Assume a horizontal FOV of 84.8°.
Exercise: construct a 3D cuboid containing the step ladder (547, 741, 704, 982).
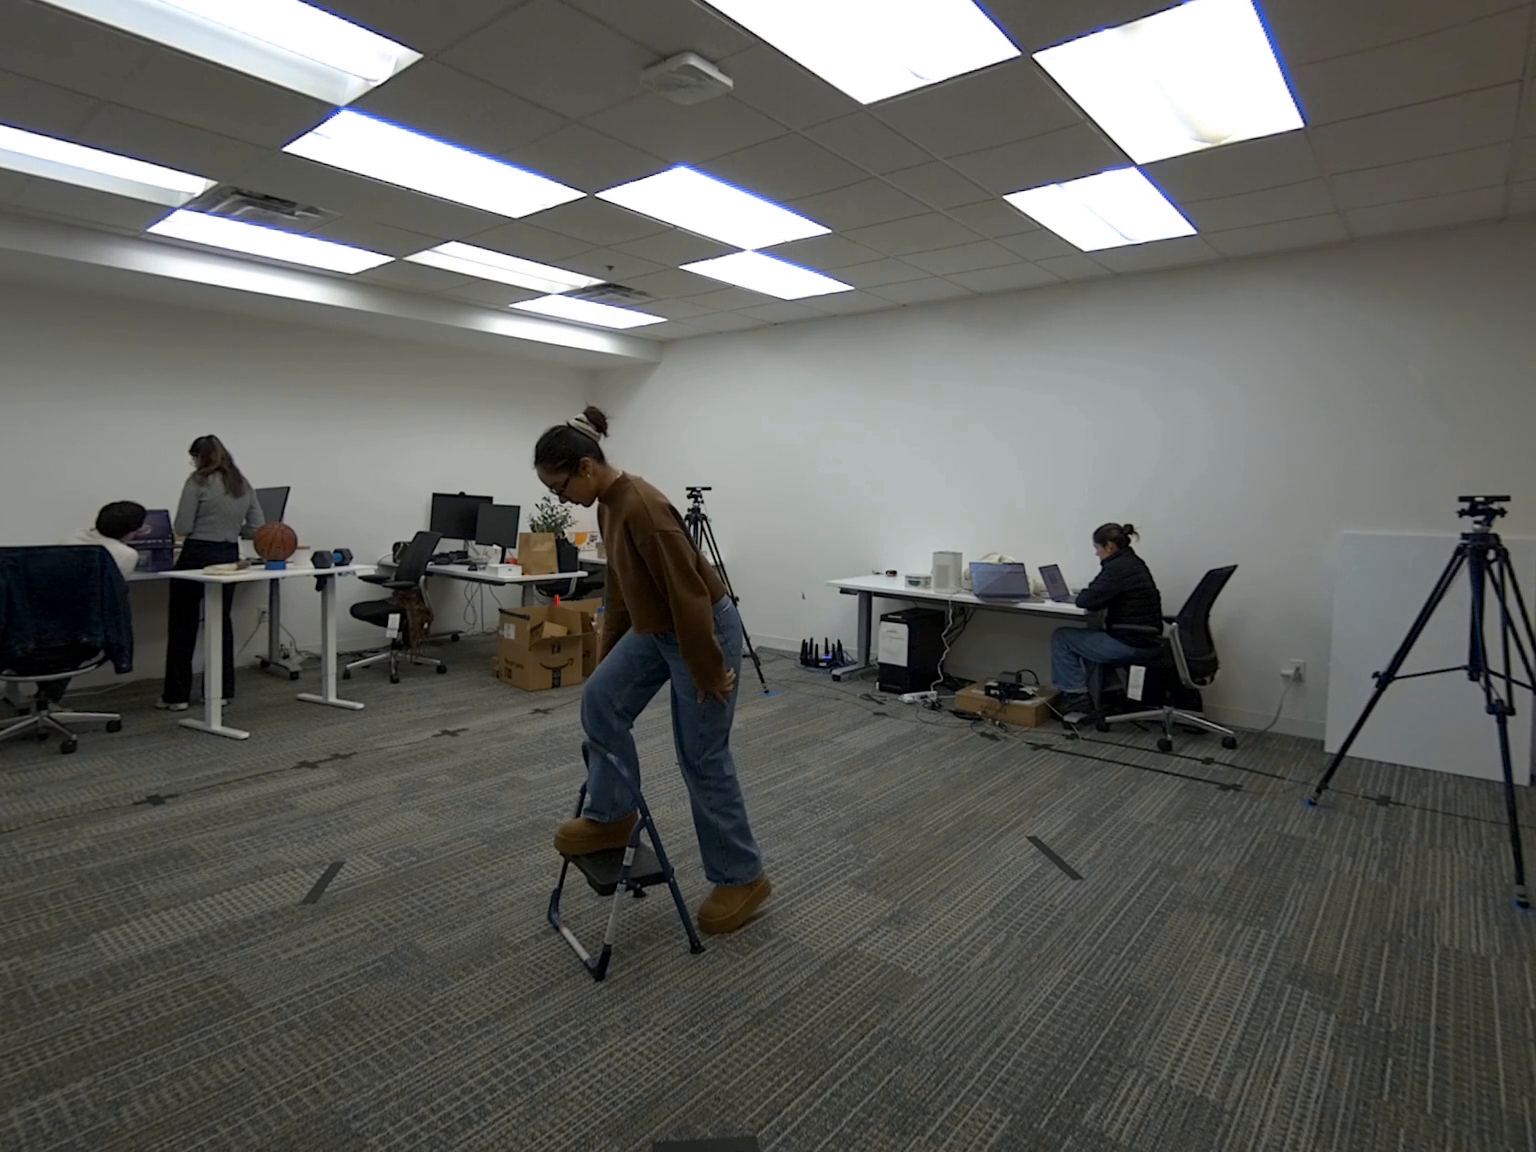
[{"bbox_3d":[-0.457,0.809,2.621,0.339,0.604,0.444,-2,5,-34],"label":"step ladder"}]
